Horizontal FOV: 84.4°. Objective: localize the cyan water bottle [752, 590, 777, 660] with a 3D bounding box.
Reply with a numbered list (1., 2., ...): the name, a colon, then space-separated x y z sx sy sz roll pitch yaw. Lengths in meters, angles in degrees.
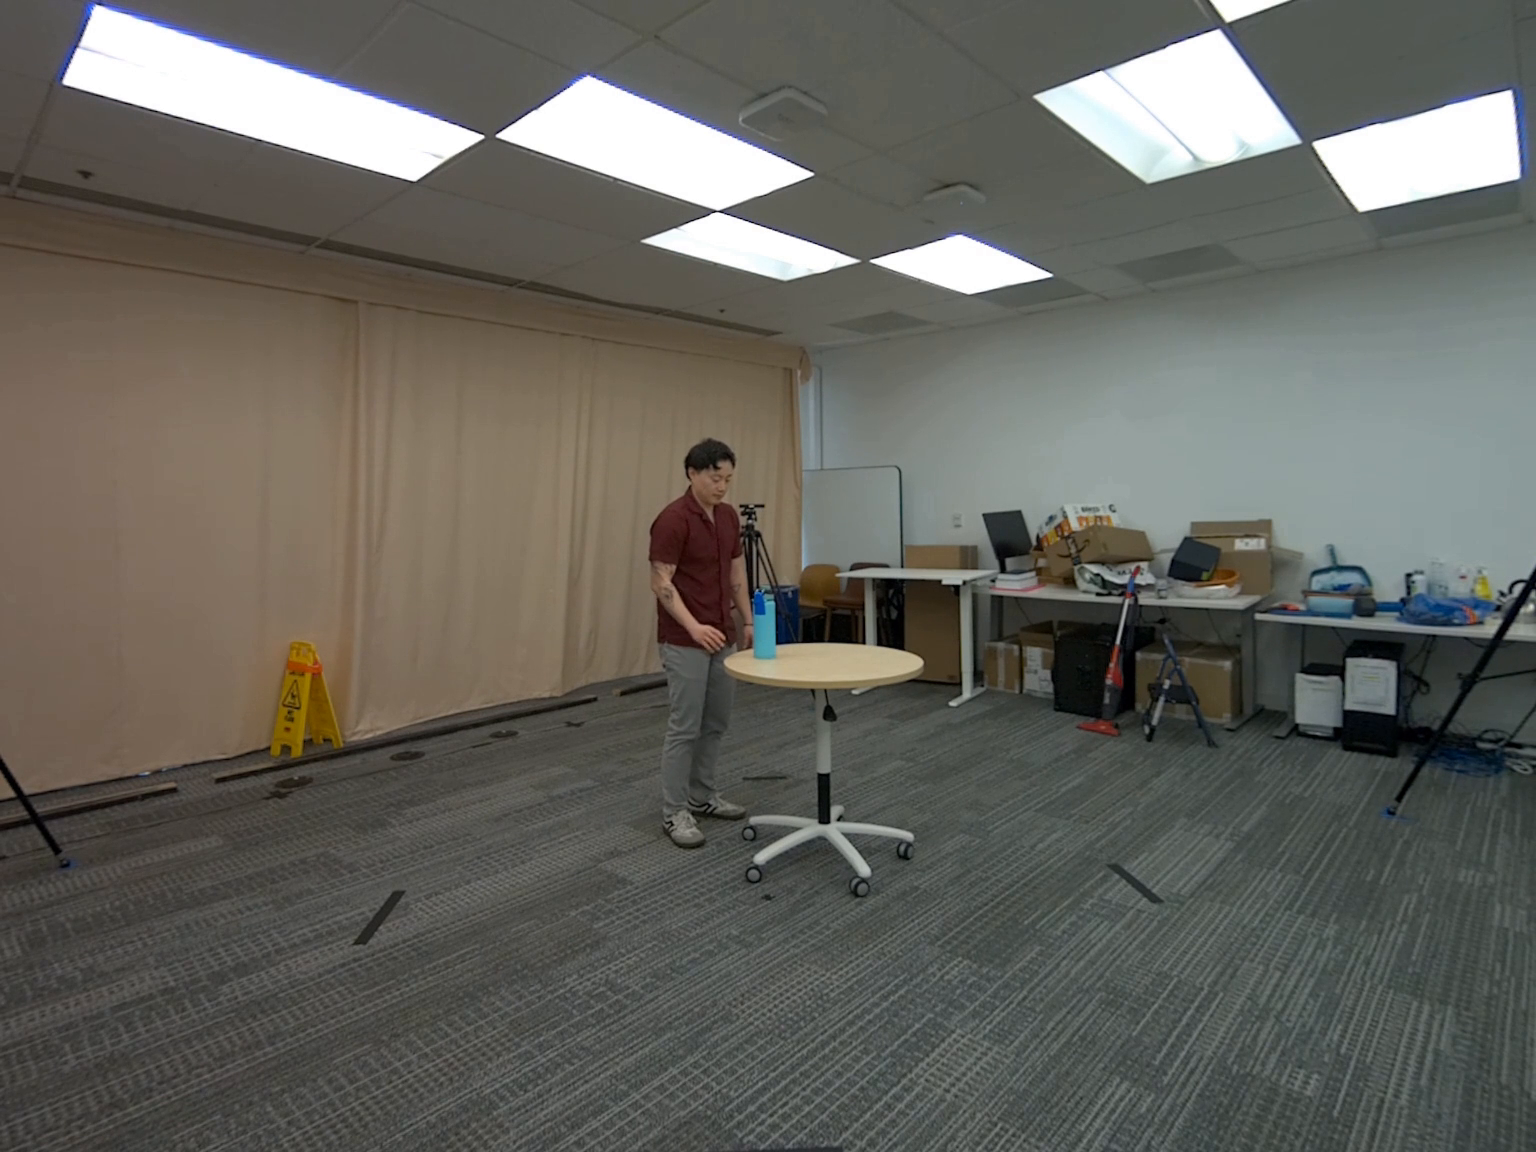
1. cyan water bottle: -0.007 0.185 3.358 0.092 0.283 0.093 -1 4 -2
